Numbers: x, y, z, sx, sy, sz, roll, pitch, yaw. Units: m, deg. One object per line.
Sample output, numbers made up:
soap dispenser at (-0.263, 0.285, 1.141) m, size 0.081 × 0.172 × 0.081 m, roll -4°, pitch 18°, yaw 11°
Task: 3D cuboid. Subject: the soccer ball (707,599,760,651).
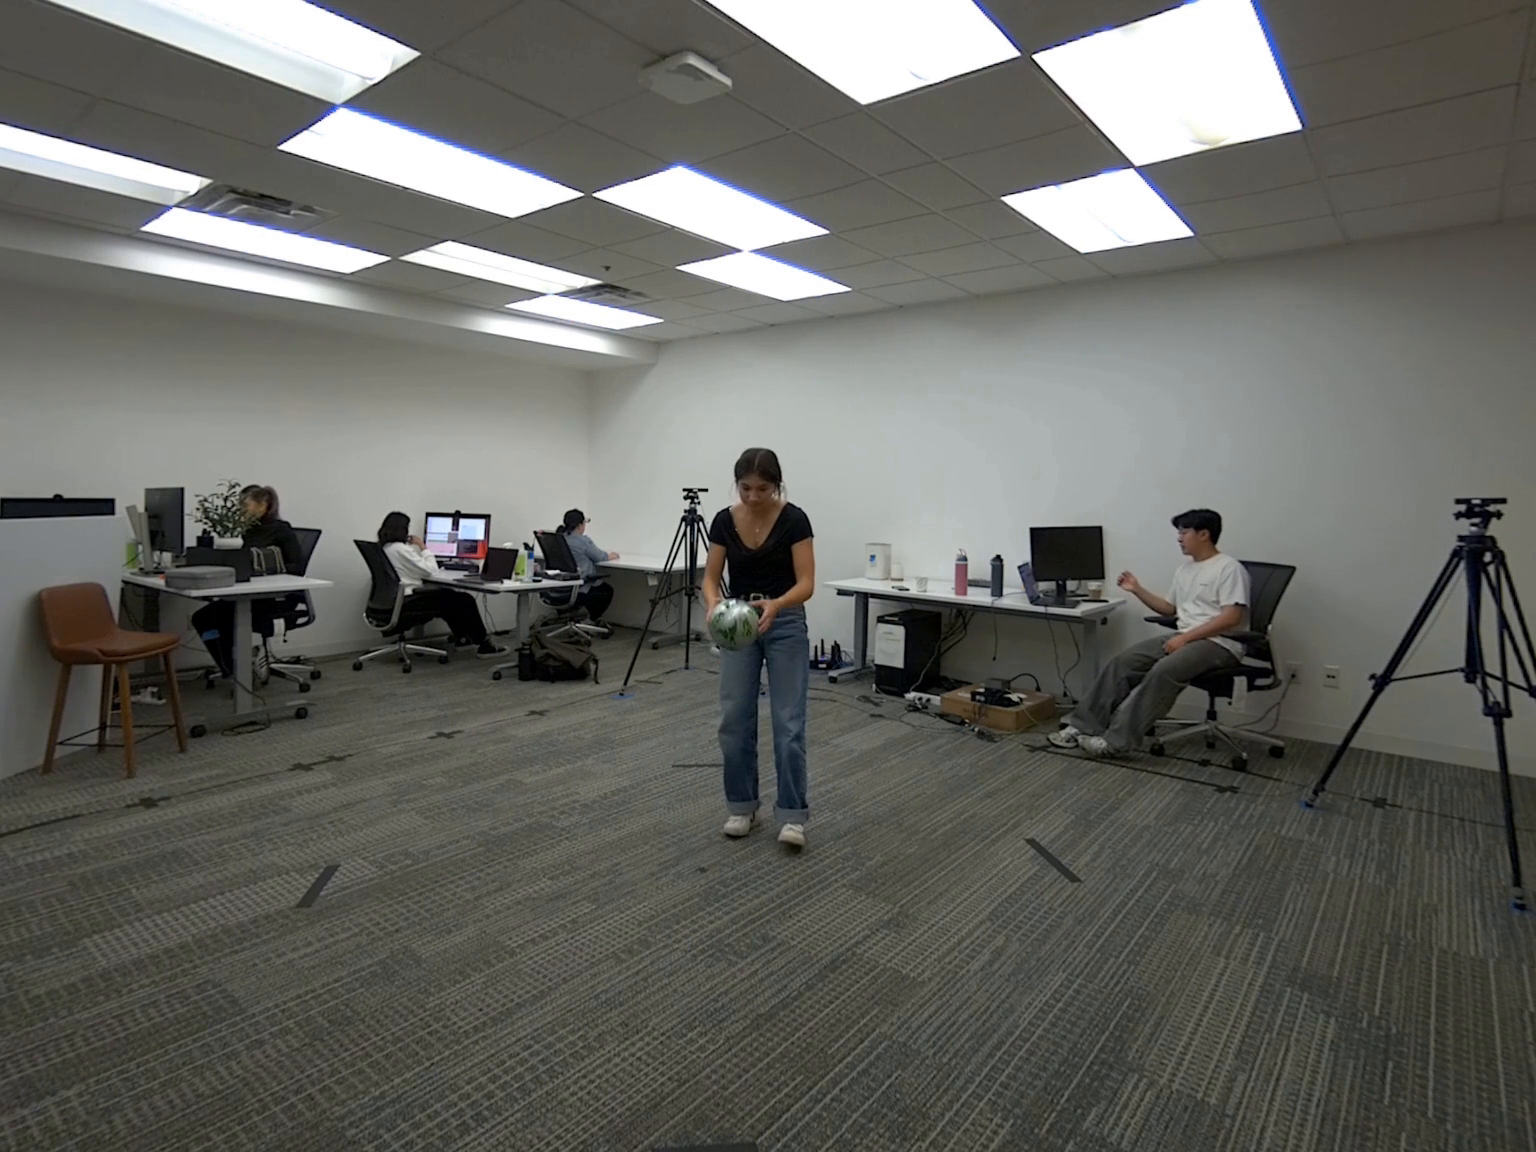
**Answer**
soccer ball at (-0.126, 0.172, 3.062) m, size 0.187 × 0.187 × 0.188 m, roll 1°, pitch 4°, yaw -2°
